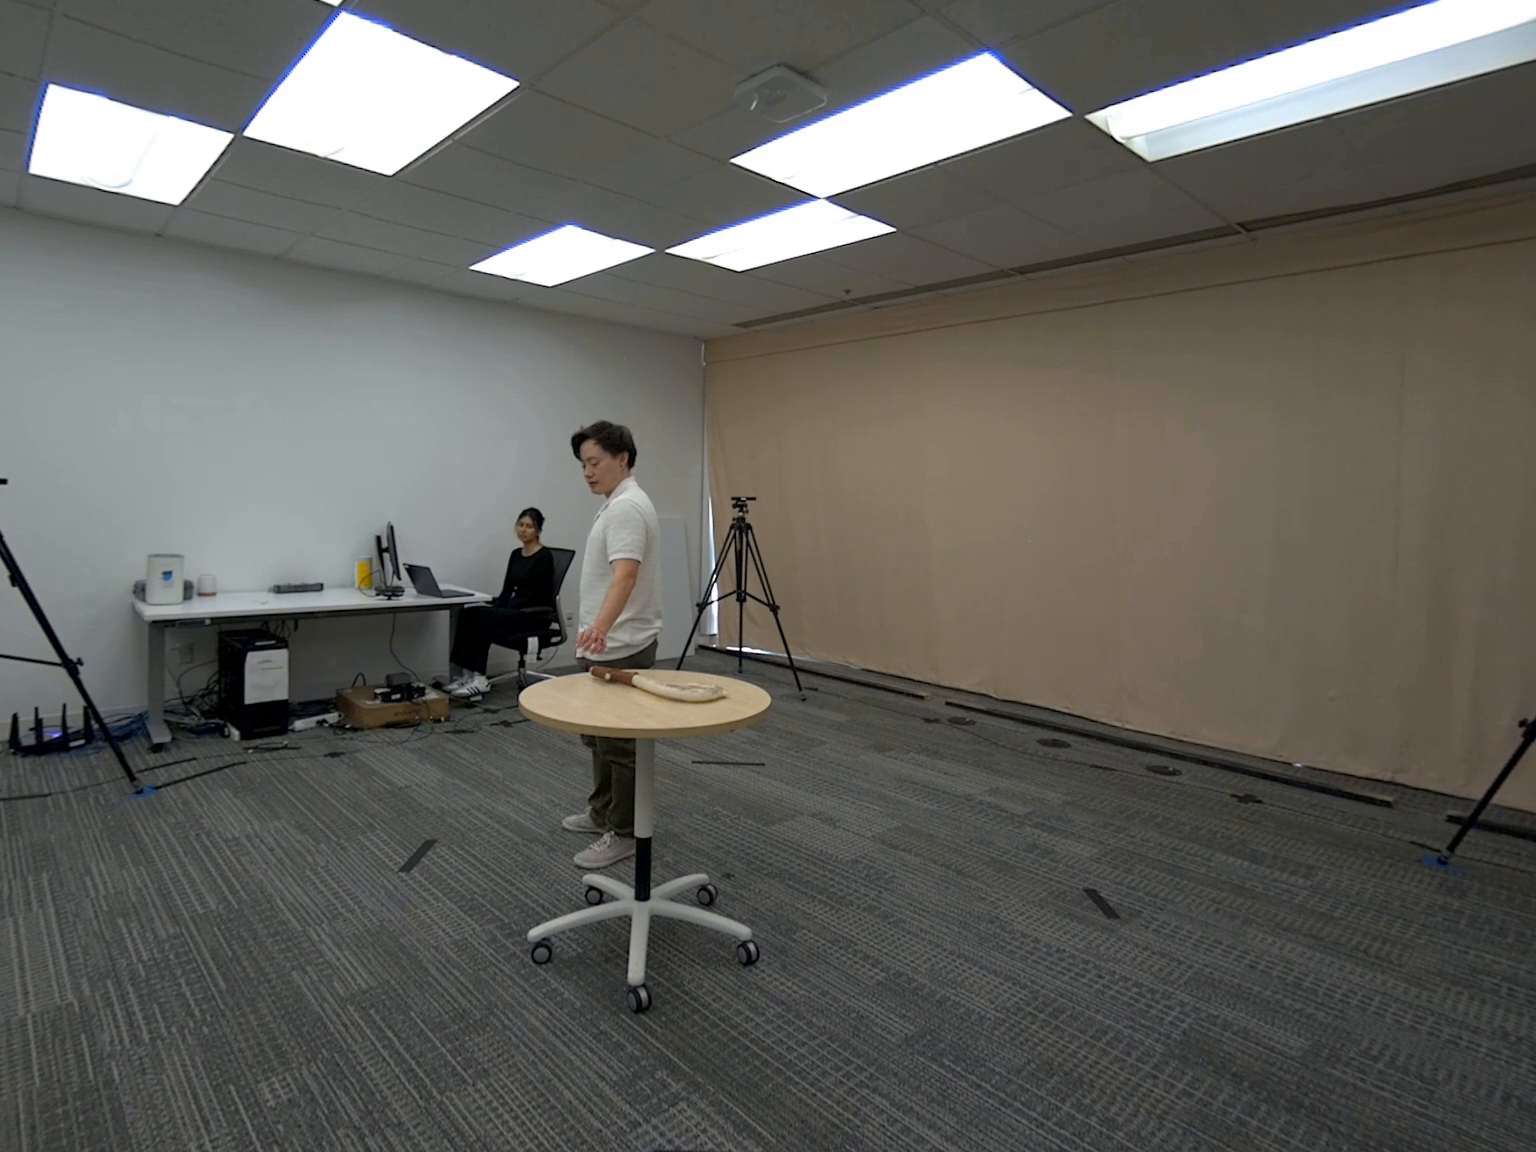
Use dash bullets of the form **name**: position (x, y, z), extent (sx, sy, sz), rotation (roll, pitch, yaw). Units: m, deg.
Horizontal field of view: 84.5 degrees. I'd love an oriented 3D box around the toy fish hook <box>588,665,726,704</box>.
- **toy fish hook**: position (-0.365, 0.347, 2.687), extent (0.519, 0.048, 0.219), rotation (6, -1, 37)
